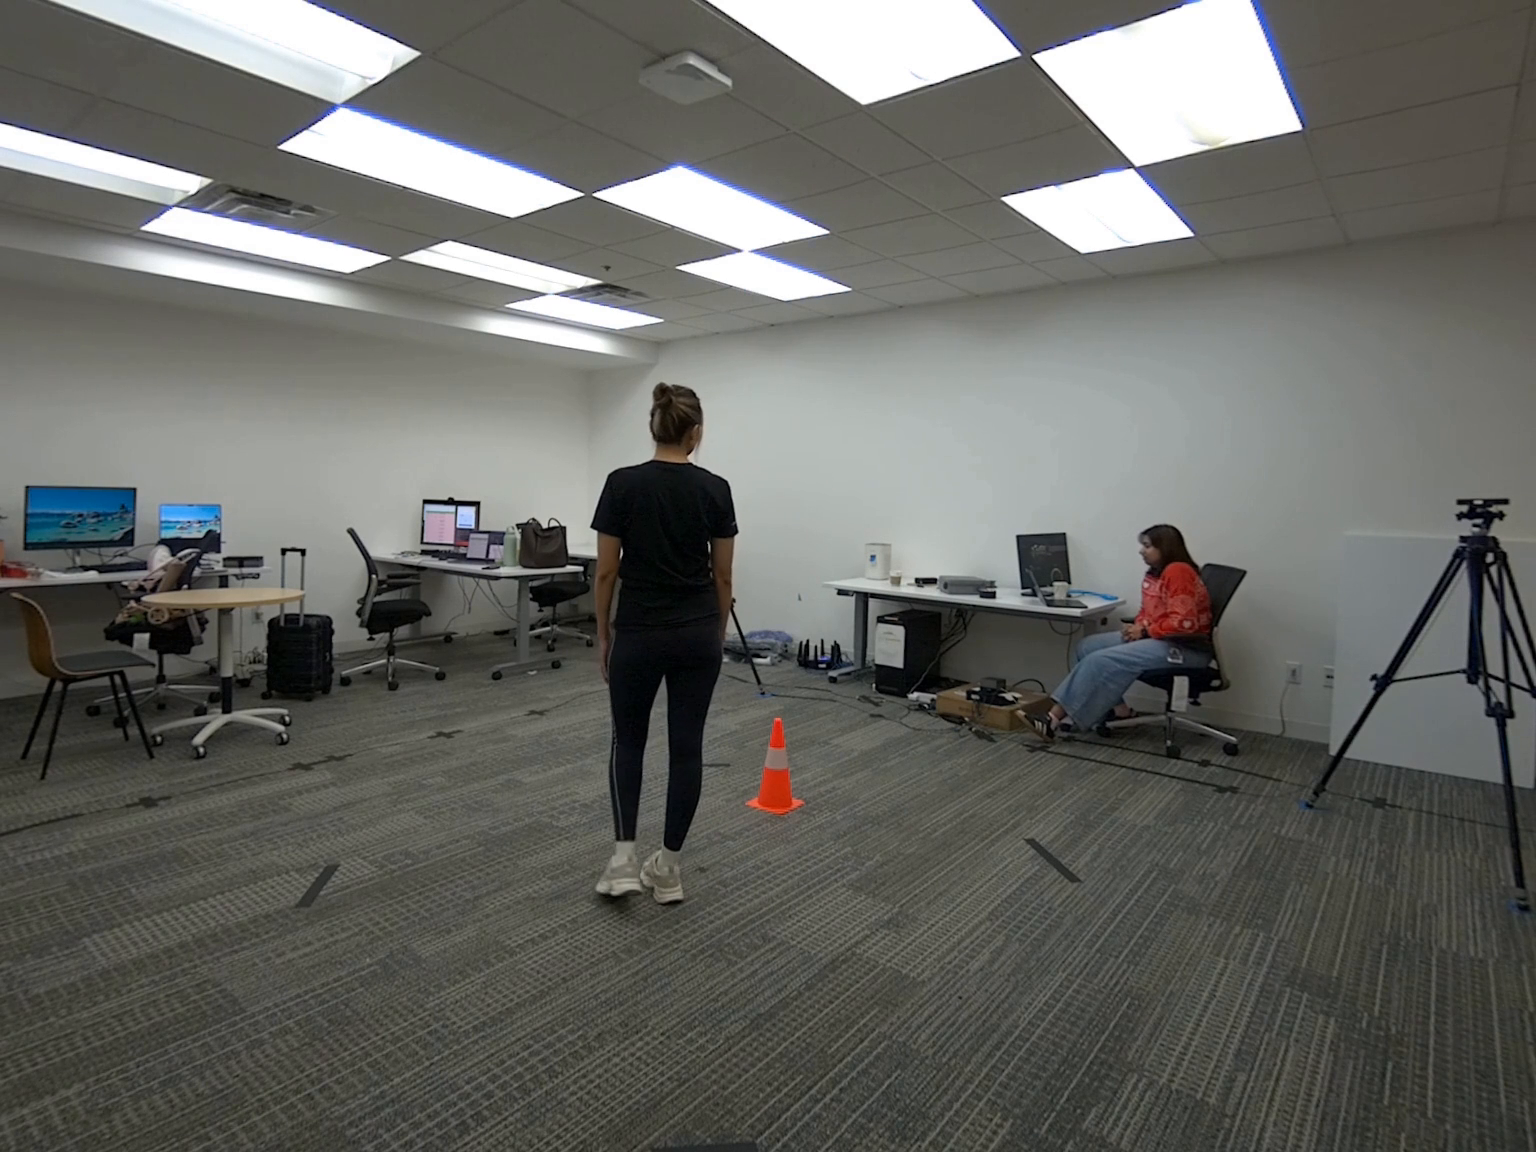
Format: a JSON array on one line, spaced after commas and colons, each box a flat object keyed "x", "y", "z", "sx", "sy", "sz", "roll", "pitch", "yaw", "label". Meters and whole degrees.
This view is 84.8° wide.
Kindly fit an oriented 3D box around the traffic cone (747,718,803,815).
[{"x": 0.023, "y": 0.823, "z": 3.784, "sx": 0.210, "sy": 0.382, "sz": 0.199, "roll": 4, "pitch": 5, "yaw": 41, "label": "traffic cone"}]
